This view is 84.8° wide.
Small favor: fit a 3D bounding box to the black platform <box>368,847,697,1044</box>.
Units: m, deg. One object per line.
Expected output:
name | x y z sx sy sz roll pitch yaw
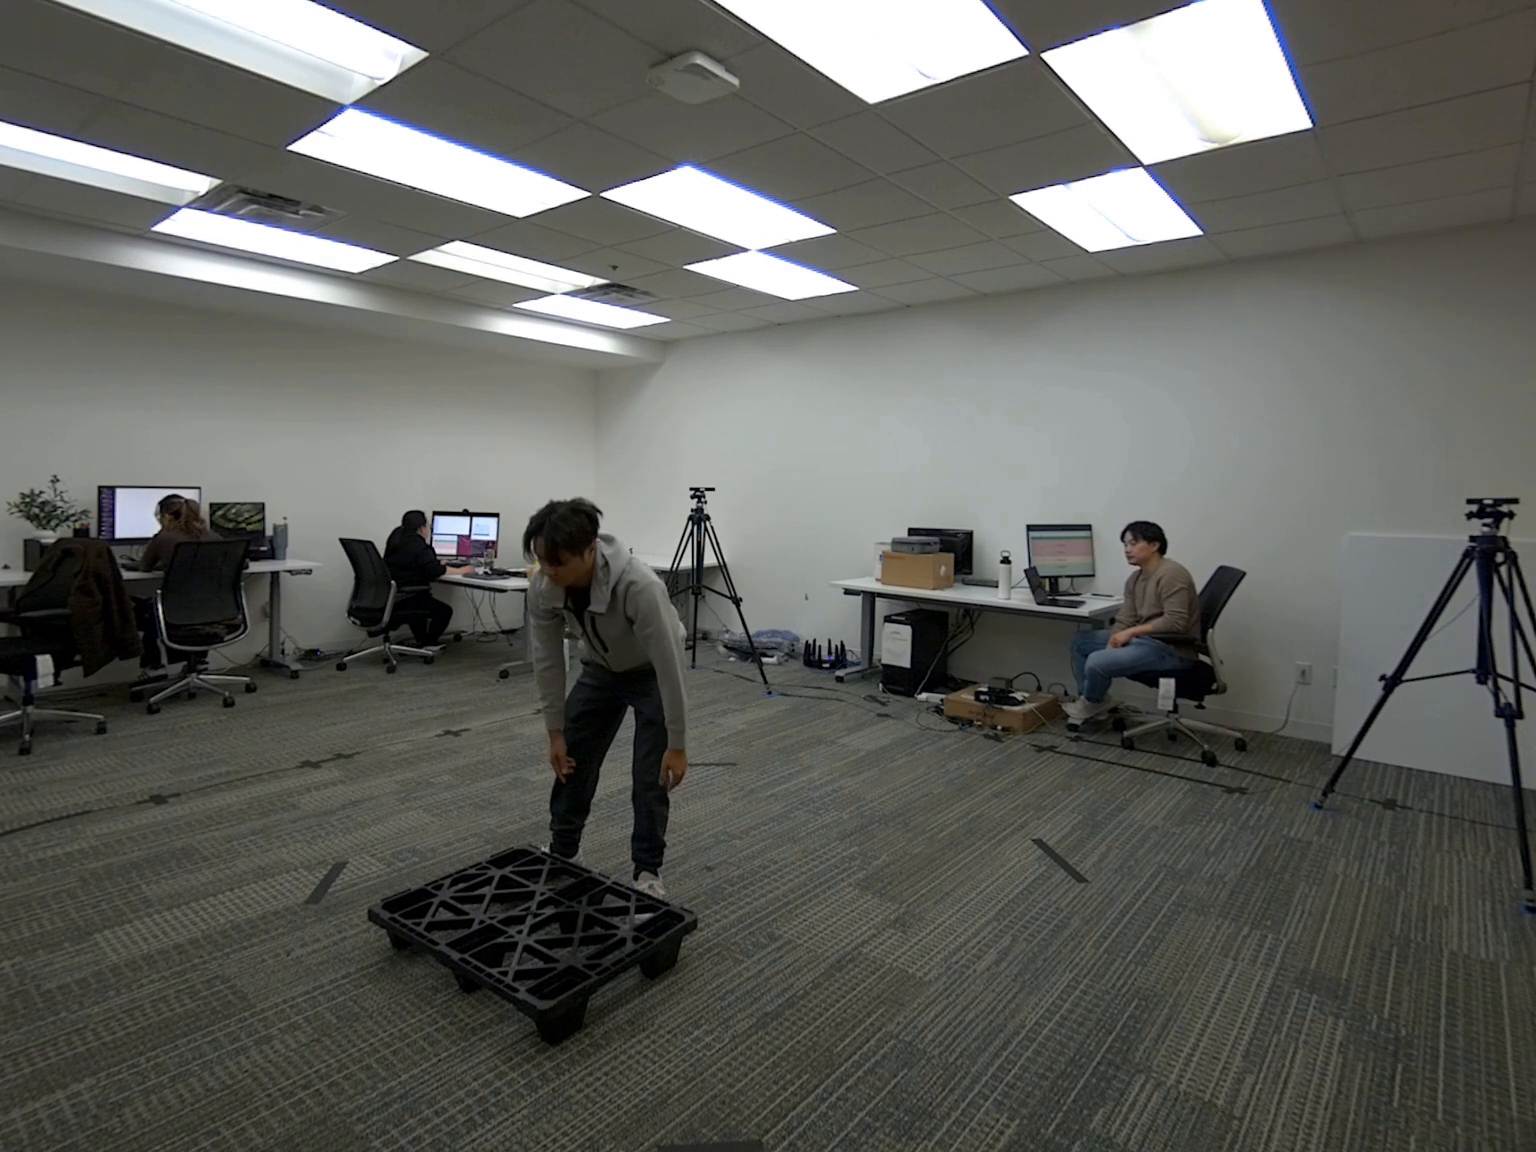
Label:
black platform | -0.705 1.052 2.516 0.832 0.143 0.588 5 7 36
